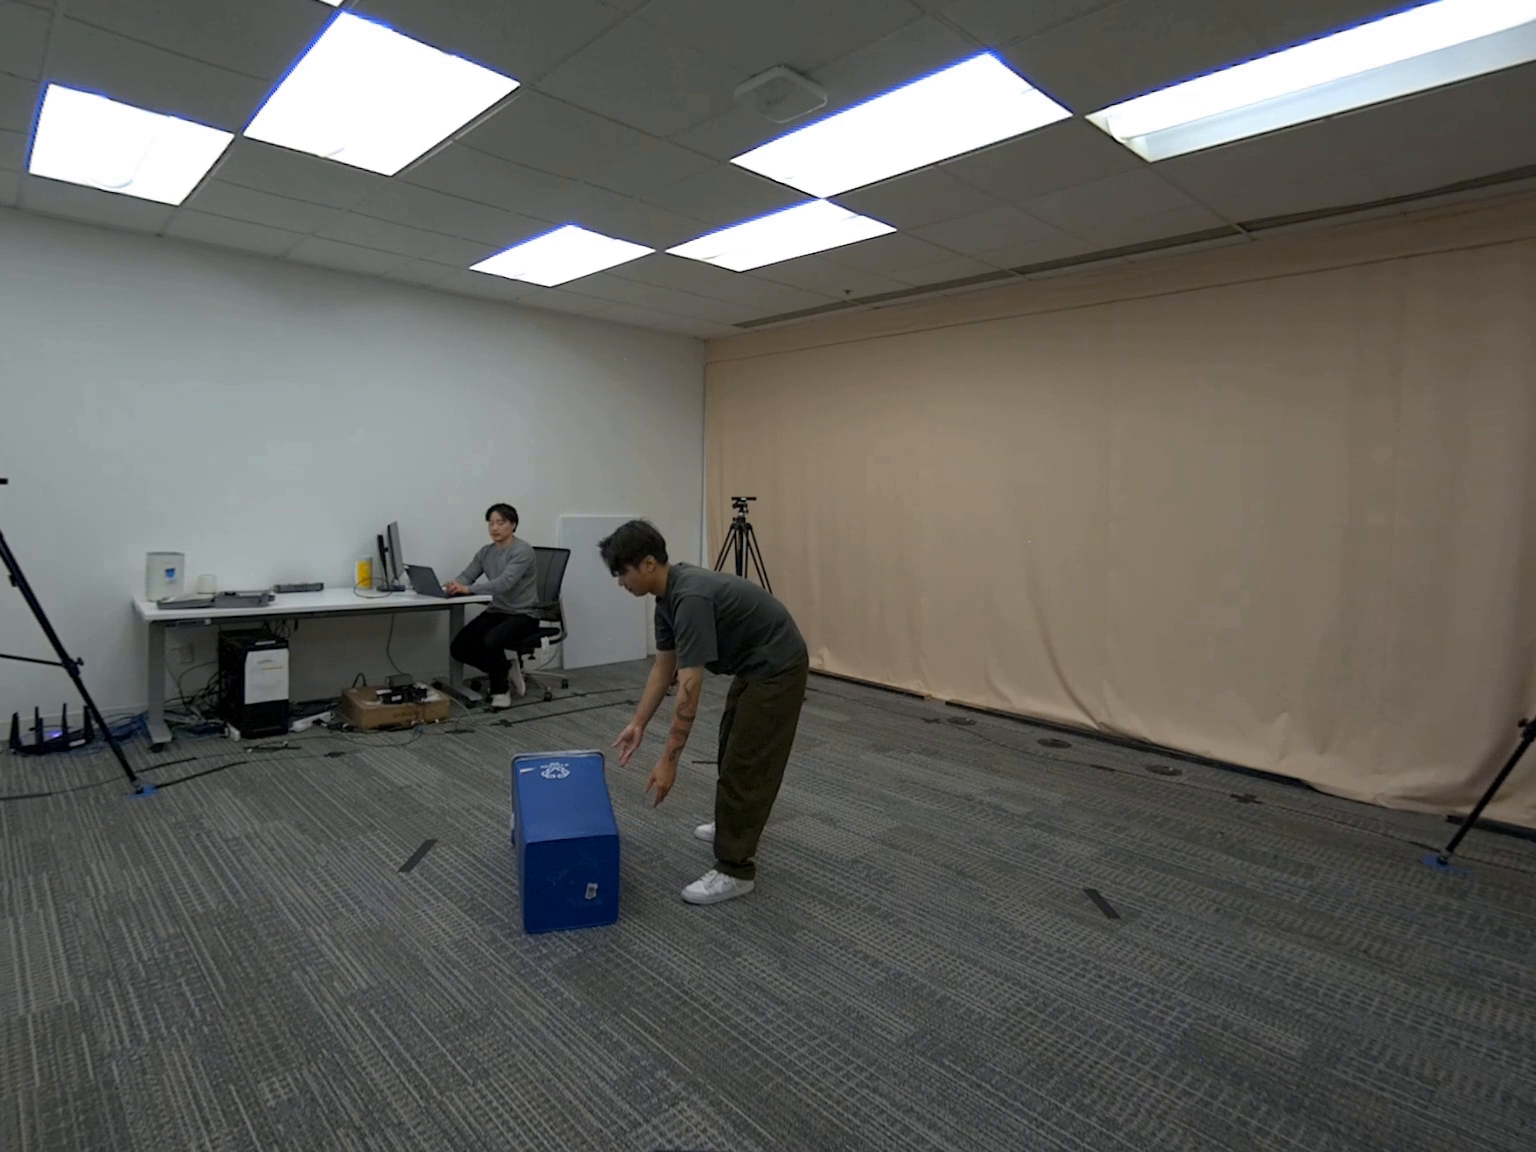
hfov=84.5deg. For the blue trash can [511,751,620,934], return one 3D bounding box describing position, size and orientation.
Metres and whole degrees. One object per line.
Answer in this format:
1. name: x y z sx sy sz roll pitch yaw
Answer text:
1. blue trash can: -0.735 0.926 3.014 0.373 0.372 0.726 1 6 -18
